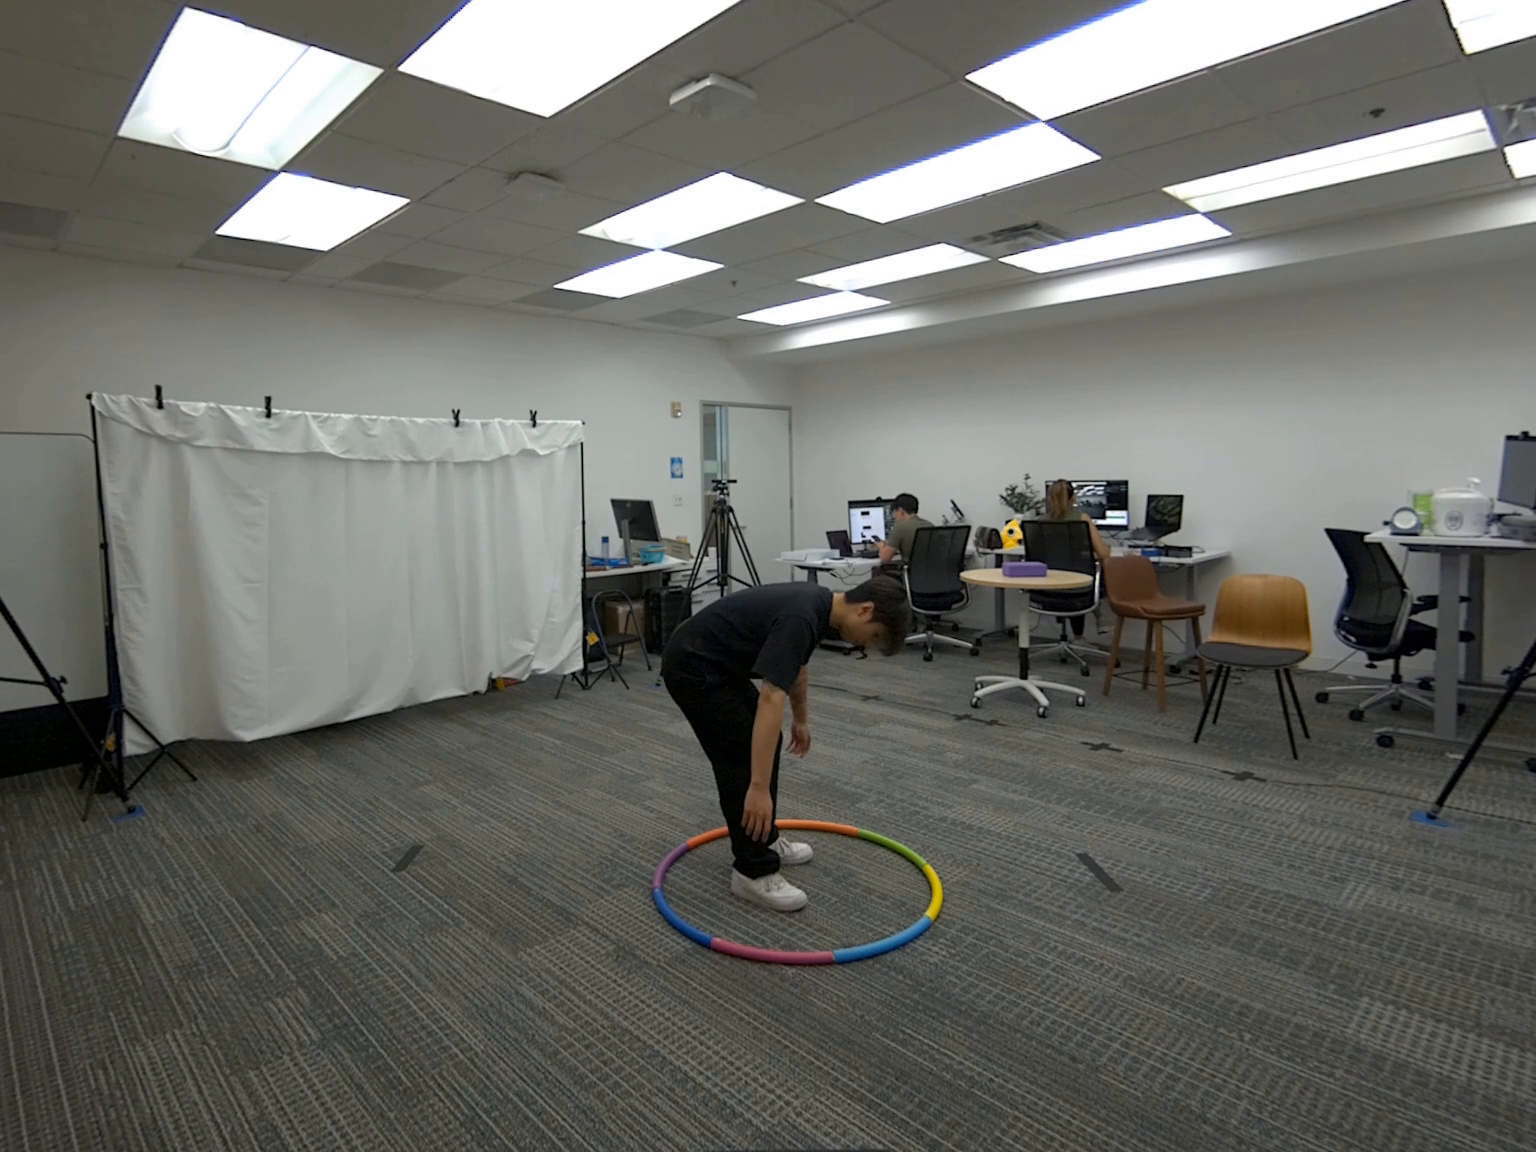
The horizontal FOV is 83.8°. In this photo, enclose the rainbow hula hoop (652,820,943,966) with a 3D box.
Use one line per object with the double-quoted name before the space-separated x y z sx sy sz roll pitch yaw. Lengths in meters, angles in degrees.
"rainbow hula hoop" 0.092 1.037 2.942 0.978 0.035 0.984 -2 7 -2
